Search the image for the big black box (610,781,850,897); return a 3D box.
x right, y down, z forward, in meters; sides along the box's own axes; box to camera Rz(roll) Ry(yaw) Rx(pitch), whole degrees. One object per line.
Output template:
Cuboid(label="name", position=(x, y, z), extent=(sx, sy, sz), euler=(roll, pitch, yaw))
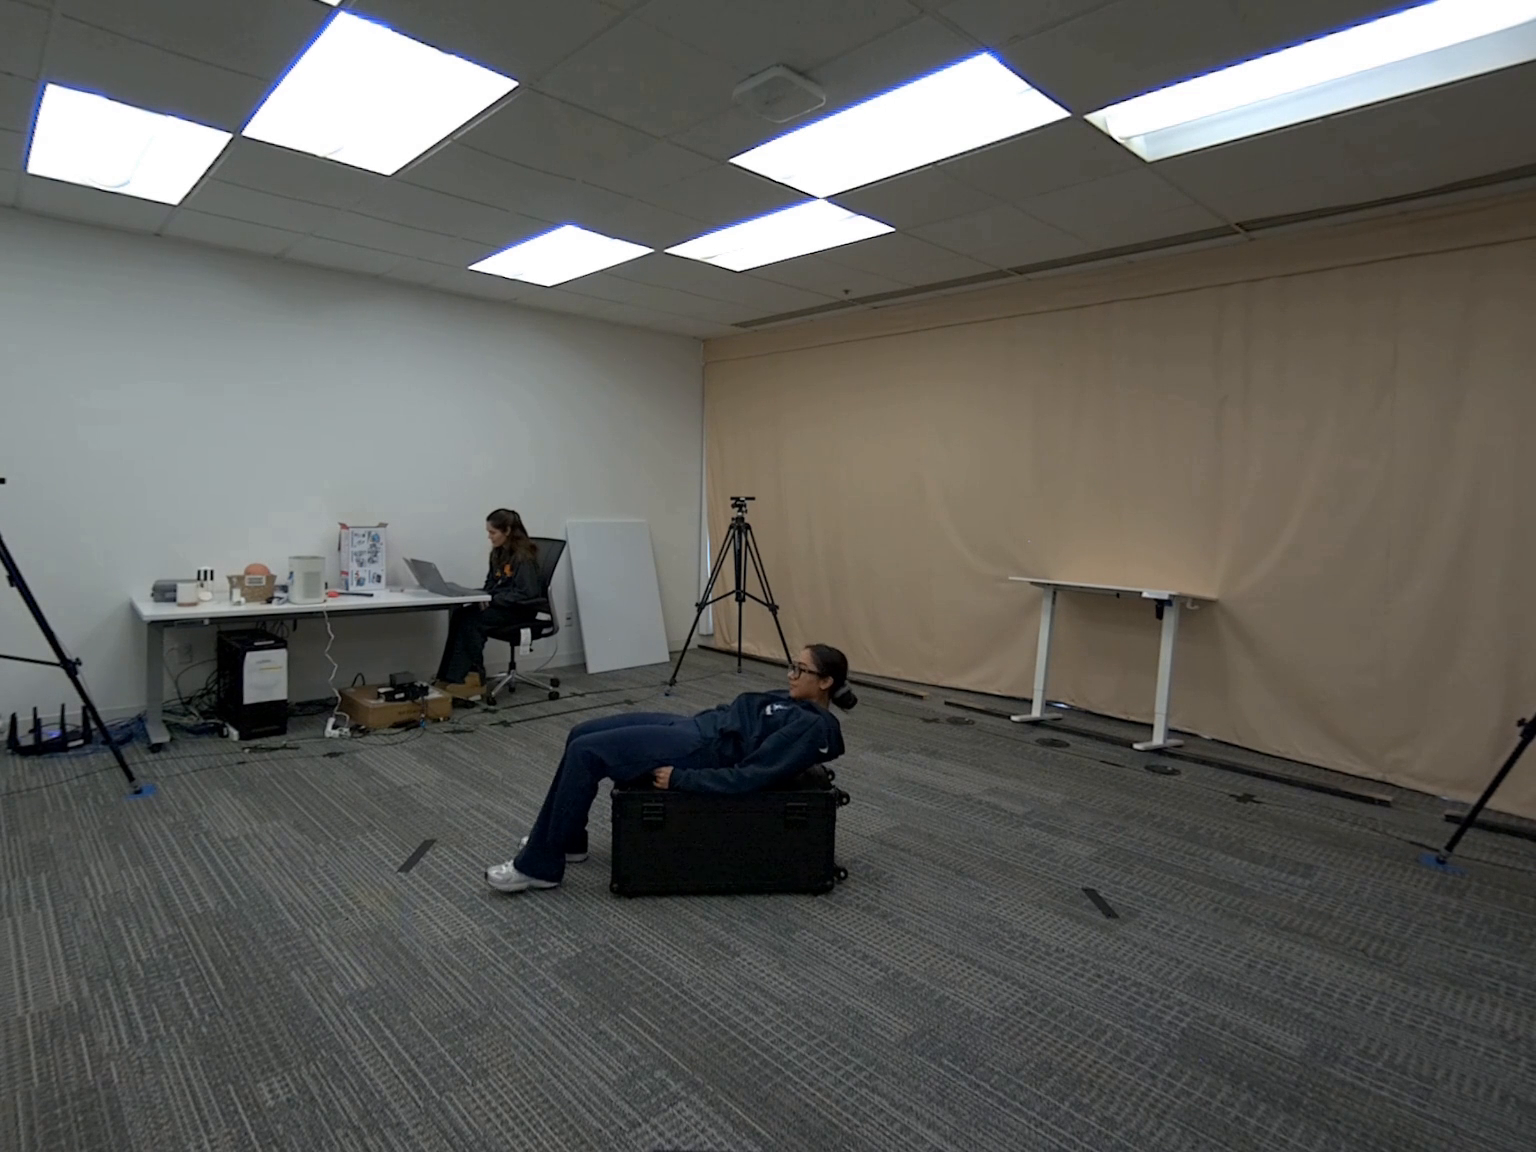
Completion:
Cuboid(label="big black box", position=(-0.146, 0.906, 3.157), extent=(0.857, 0.395, 0.525), euler=(0, 3, -6))
